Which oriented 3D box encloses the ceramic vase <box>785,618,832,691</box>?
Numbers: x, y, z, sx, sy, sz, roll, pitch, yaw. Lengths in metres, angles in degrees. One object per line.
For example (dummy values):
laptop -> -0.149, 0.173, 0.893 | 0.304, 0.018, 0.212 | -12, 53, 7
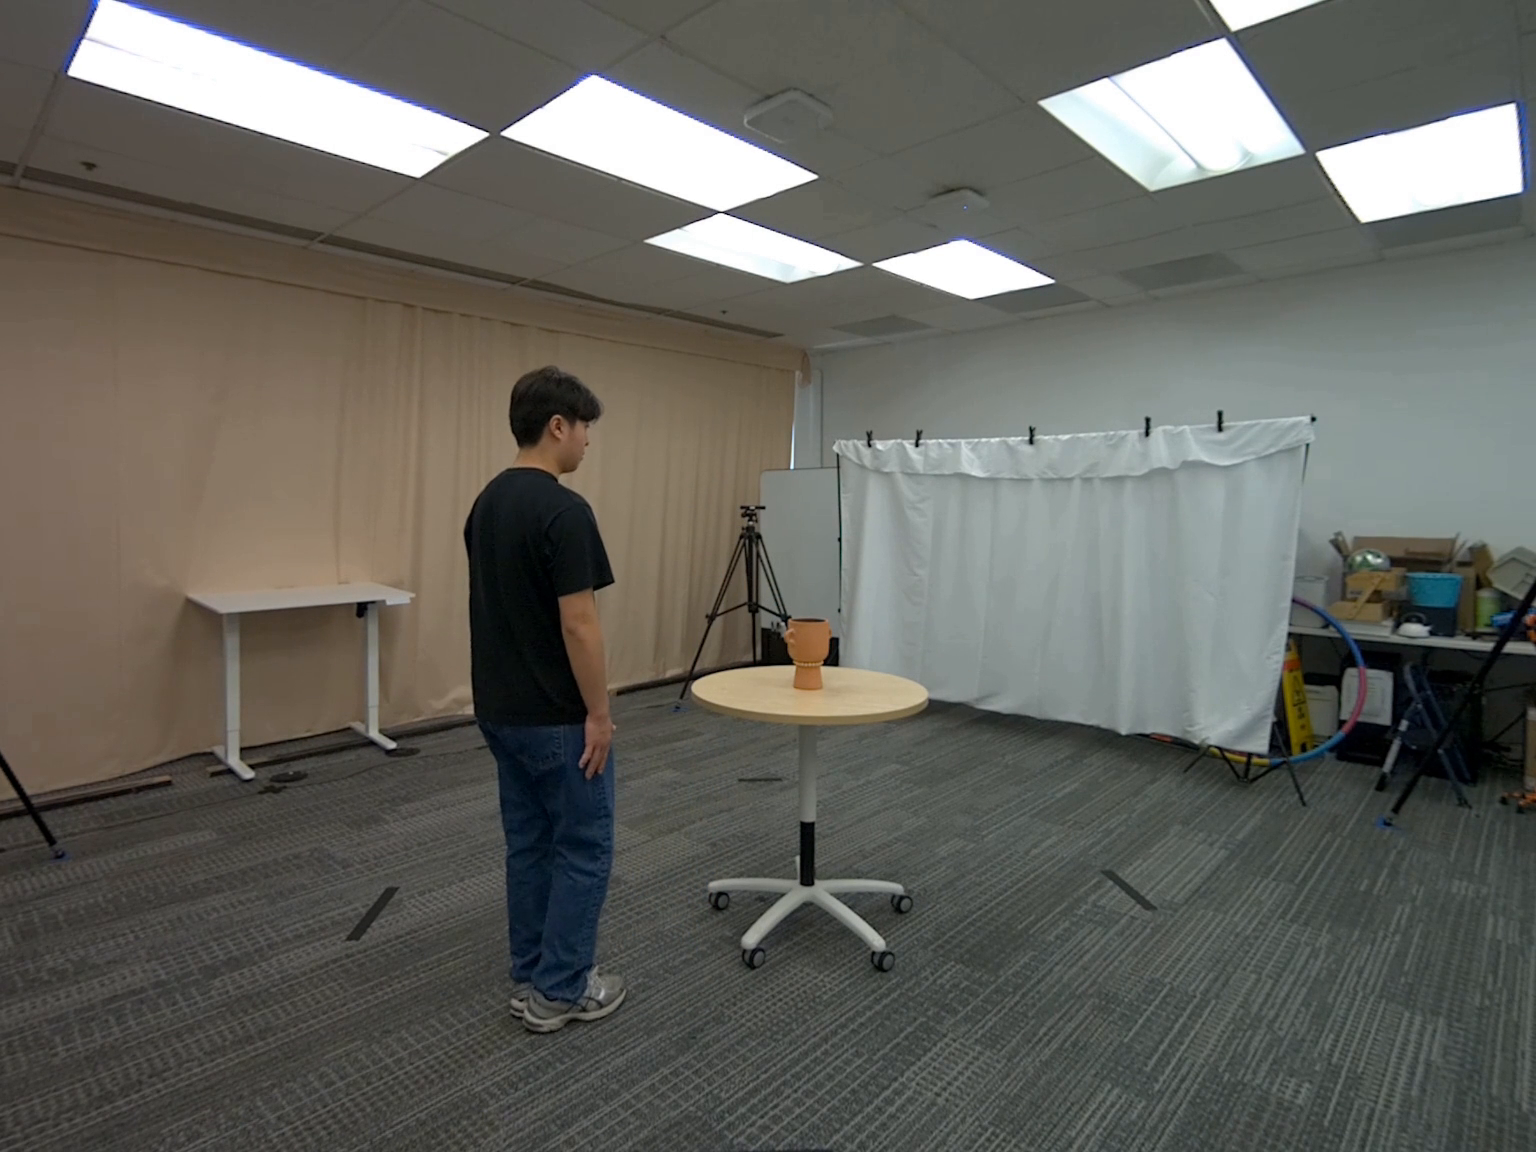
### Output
ceramic vase -> 0.140, 0.258, 2.758 | 0.160, 0.219, 0.134 | 1, 3, 4
